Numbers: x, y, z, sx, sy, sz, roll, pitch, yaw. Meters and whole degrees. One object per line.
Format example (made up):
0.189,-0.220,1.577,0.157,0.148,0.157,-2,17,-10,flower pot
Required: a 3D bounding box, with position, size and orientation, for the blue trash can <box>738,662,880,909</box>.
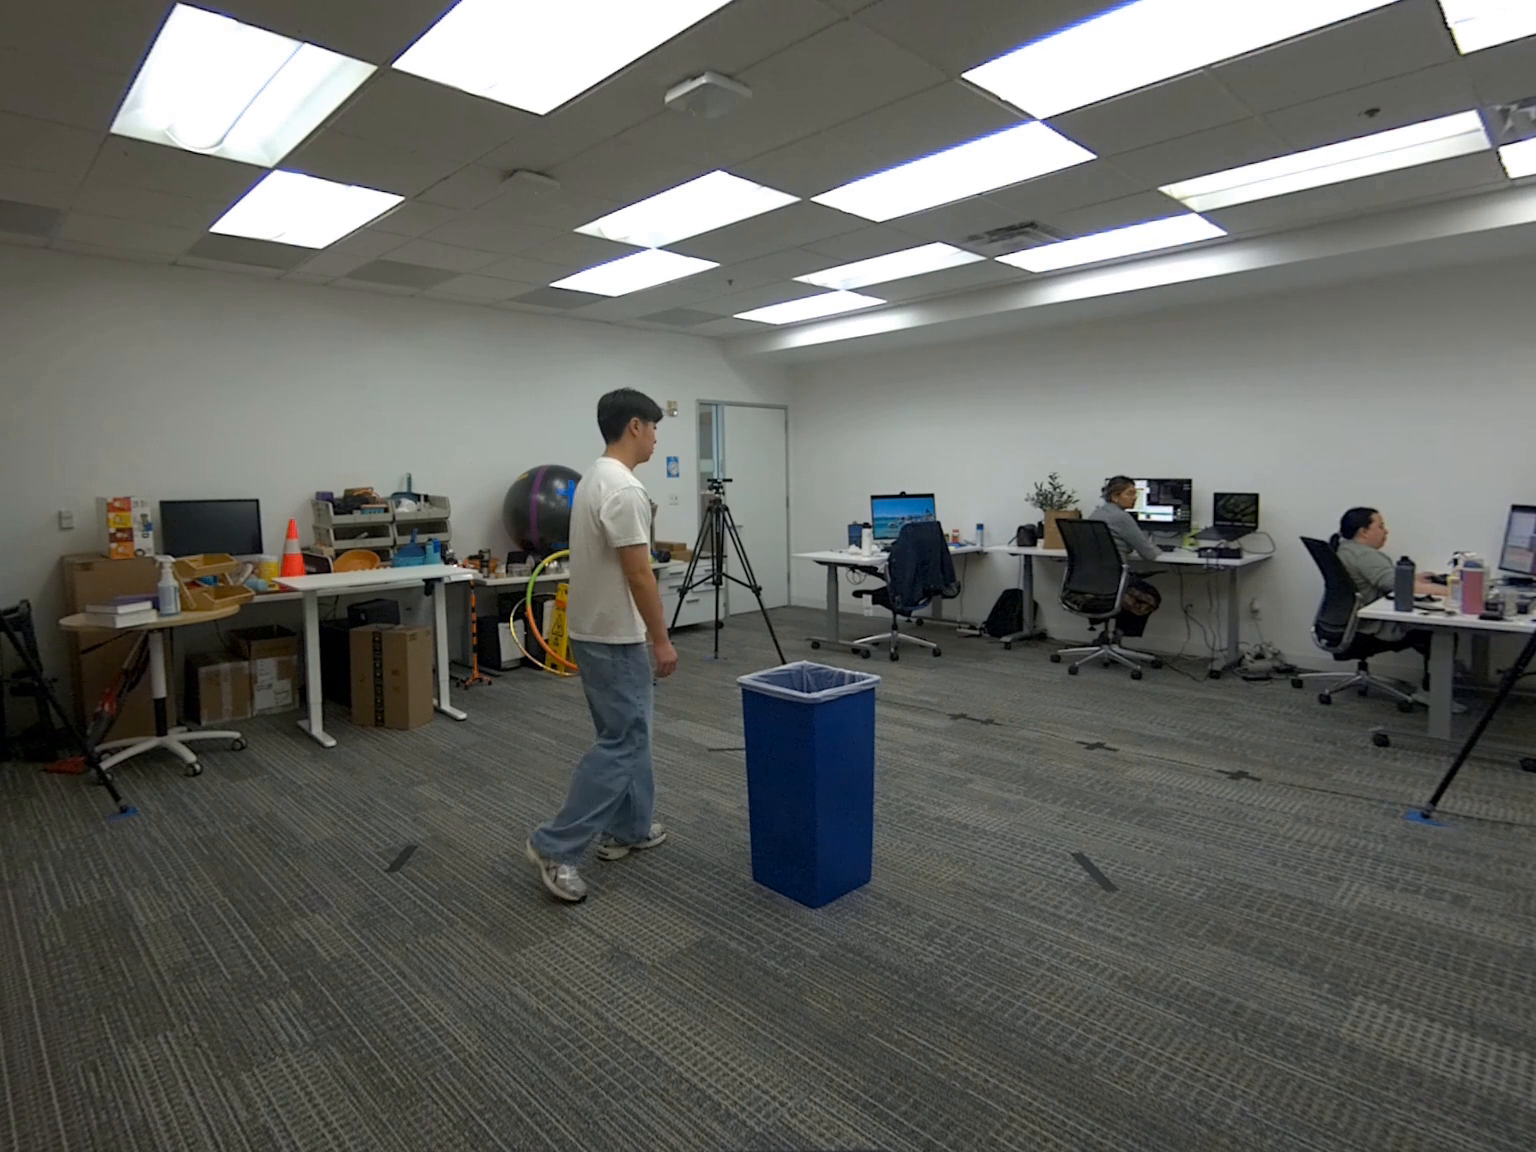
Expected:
0.148,0.700,2.938,0.364,0.711,0.389,-4,5,-45,blue trash can
